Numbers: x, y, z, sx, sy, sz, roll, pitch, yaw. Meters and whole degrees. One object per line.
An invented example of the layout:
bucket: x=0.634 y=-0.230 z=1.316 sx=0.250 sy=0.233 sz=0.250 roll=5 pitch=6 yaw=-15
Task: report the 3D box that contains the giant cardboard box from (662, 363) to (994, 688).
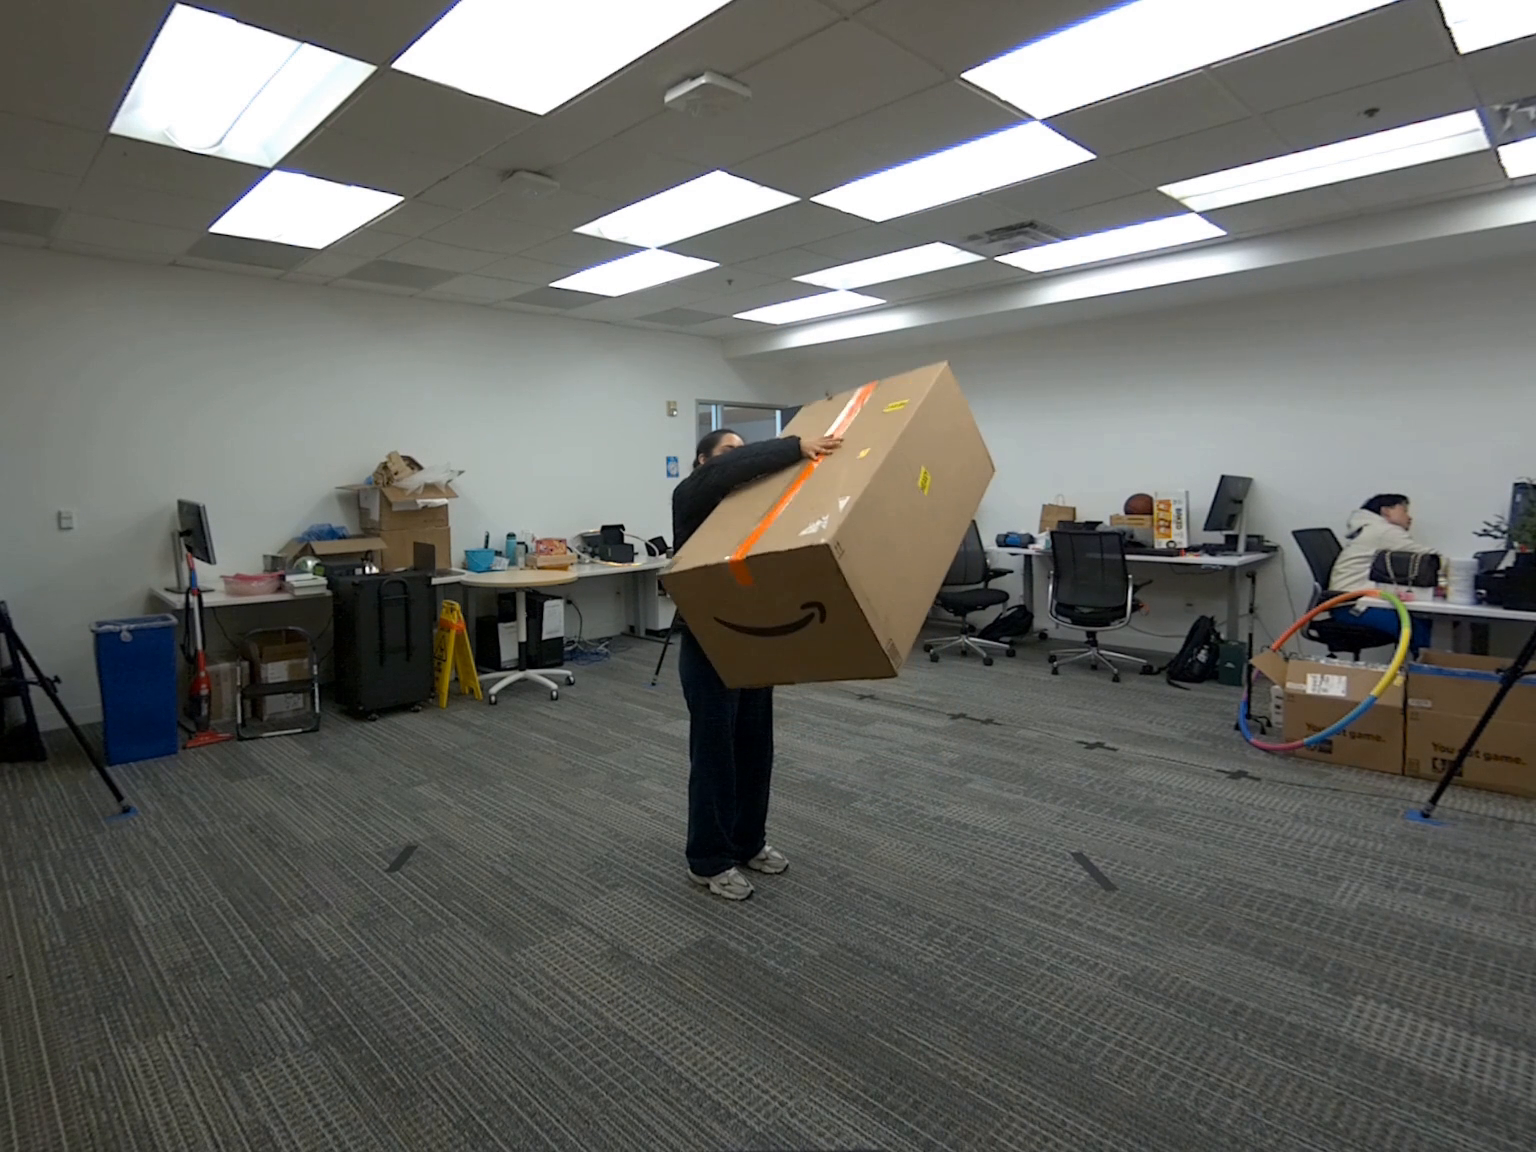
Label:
giant cardboard box: x=0.223 y=-0.174 z=2.625 sx=0.591 sy=0.415 sz=1.030 roll=-11 pitch=30 yaw=38
